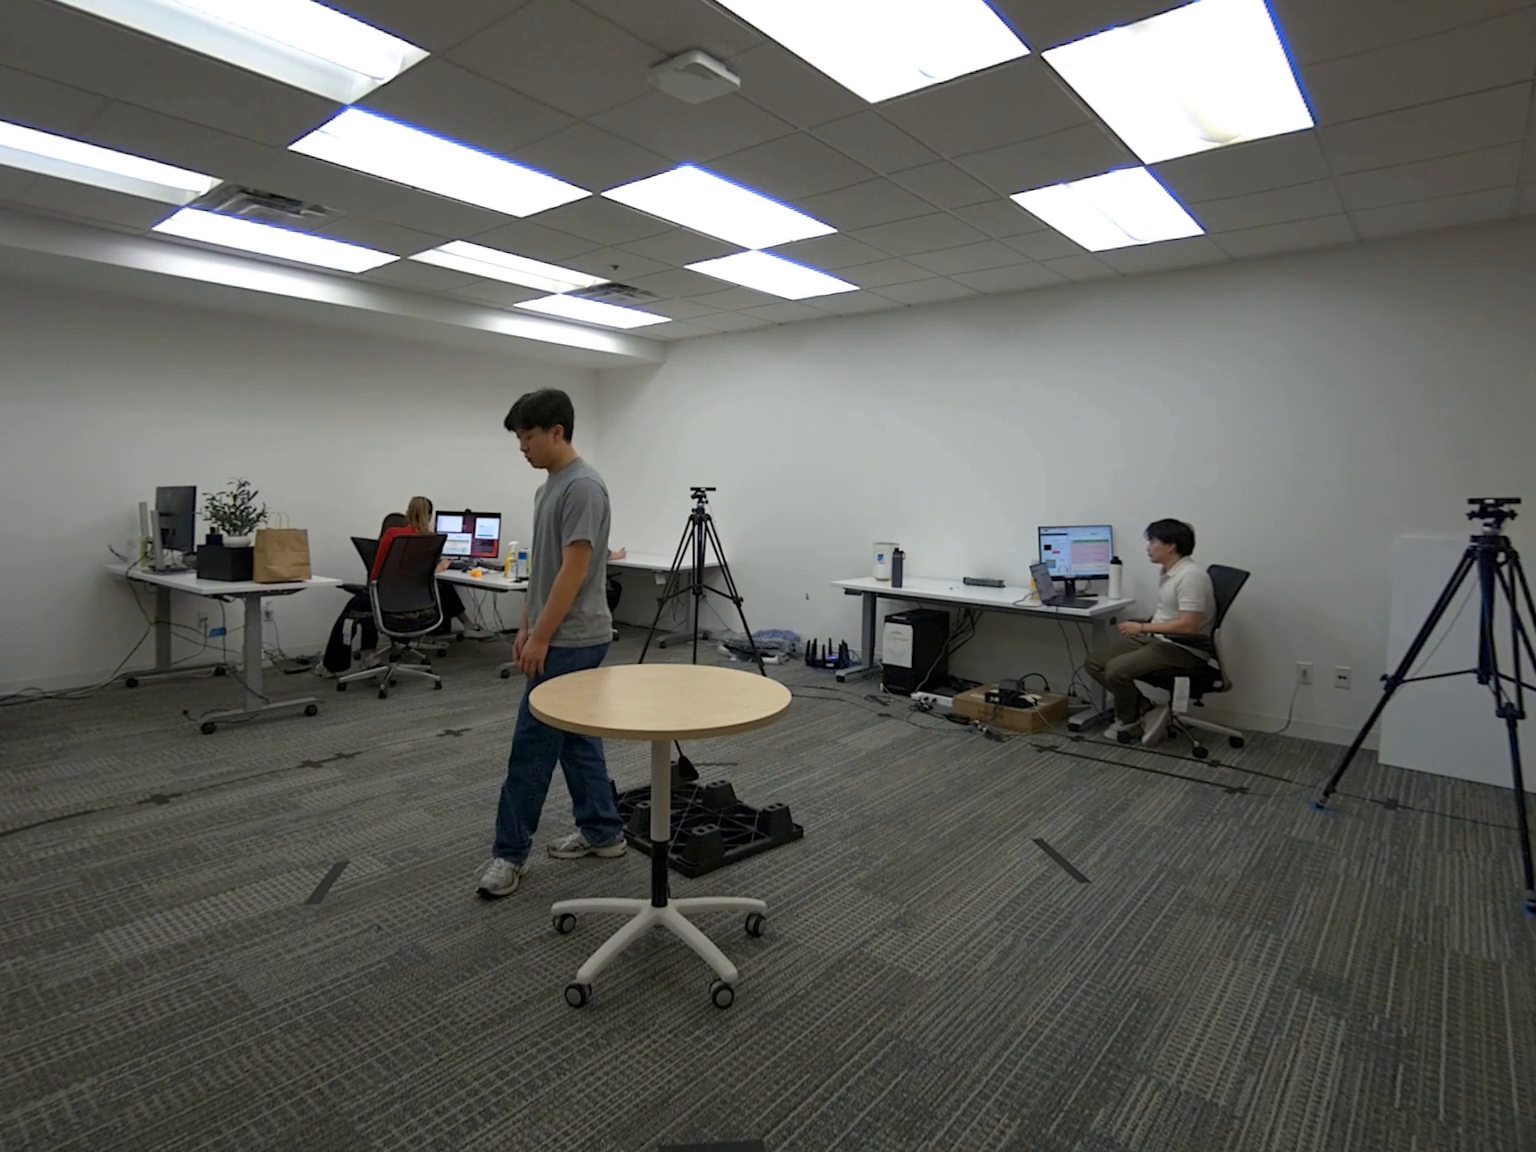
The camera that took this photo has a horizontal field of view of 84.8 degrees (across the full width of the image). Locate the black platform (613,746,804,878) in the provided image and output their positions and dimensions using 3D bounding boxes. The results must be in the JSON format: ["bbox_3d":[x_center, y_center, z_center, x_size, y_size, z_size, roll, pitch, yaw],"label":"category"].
[{"bbox_3d":[-0.355,0.962,3.506,0.587,0.143,0.833,-4,7,-44],"label":"black platform"}]
